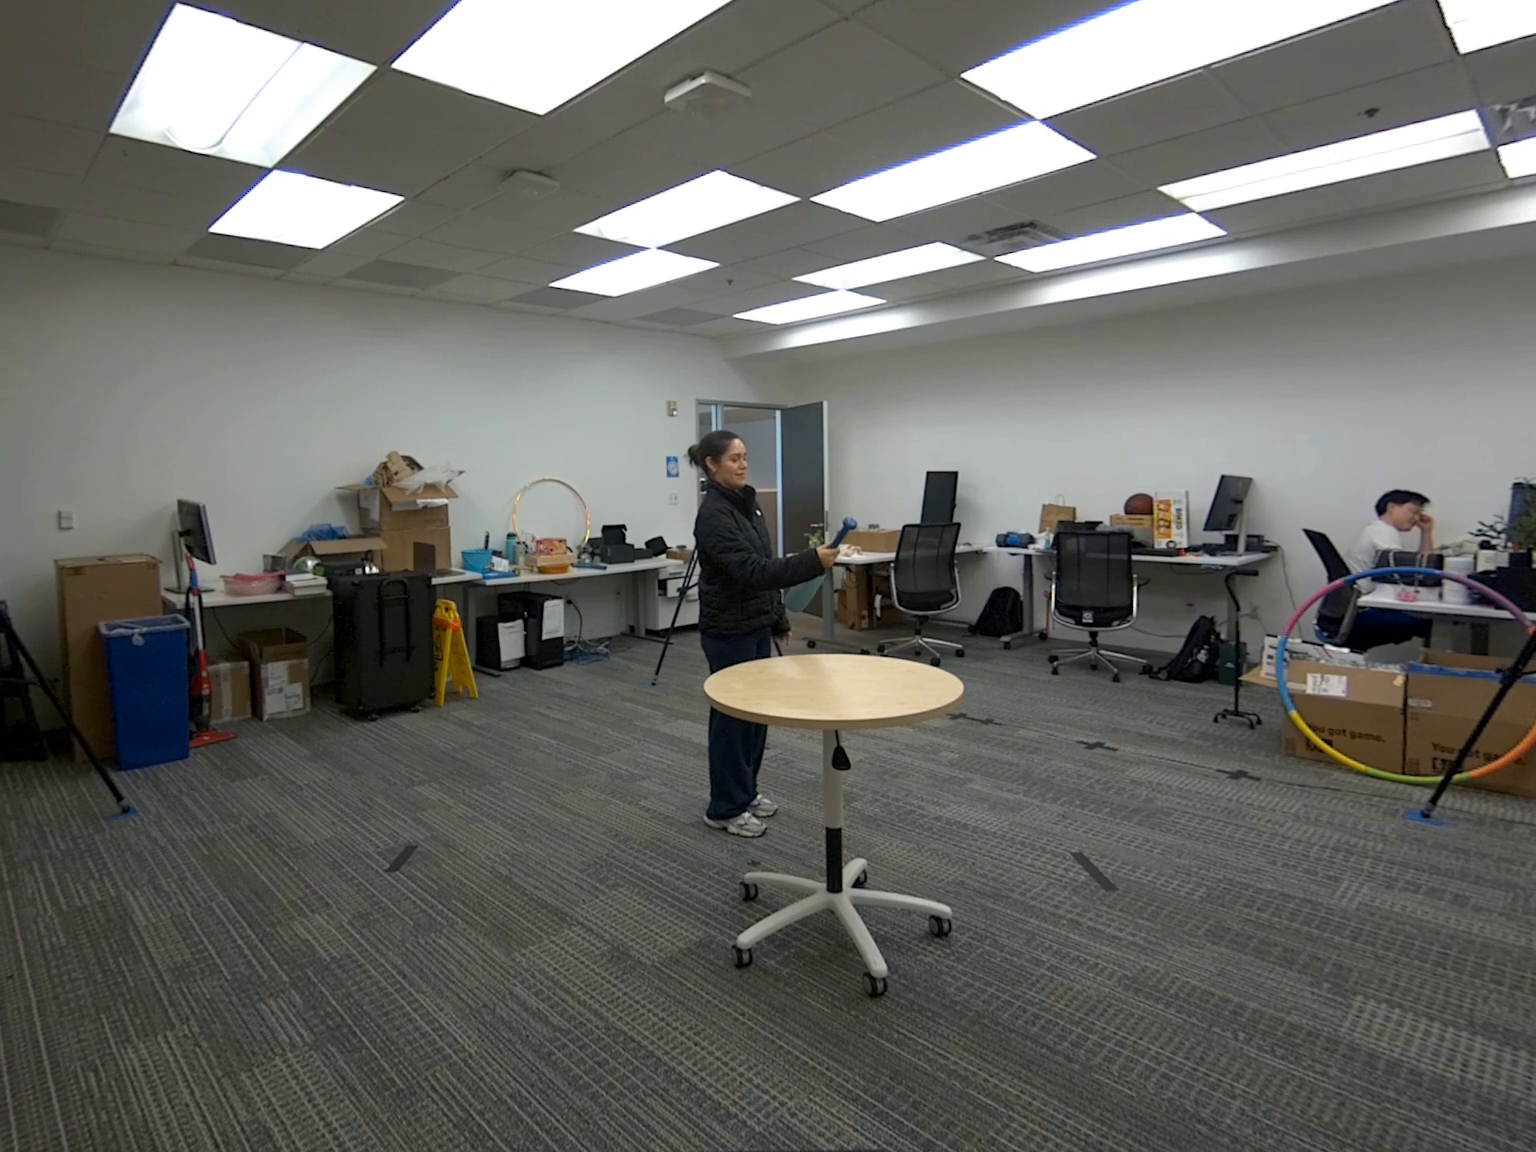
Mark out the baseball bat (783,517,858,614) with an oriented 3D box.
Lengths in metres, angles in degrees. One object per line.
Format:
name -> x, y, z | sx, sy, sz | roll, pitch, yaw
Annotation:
baseball bat -> 0.183, -0.045, 3.149 | 0.087, 0.092, 0.538 | -3, -34, -28
